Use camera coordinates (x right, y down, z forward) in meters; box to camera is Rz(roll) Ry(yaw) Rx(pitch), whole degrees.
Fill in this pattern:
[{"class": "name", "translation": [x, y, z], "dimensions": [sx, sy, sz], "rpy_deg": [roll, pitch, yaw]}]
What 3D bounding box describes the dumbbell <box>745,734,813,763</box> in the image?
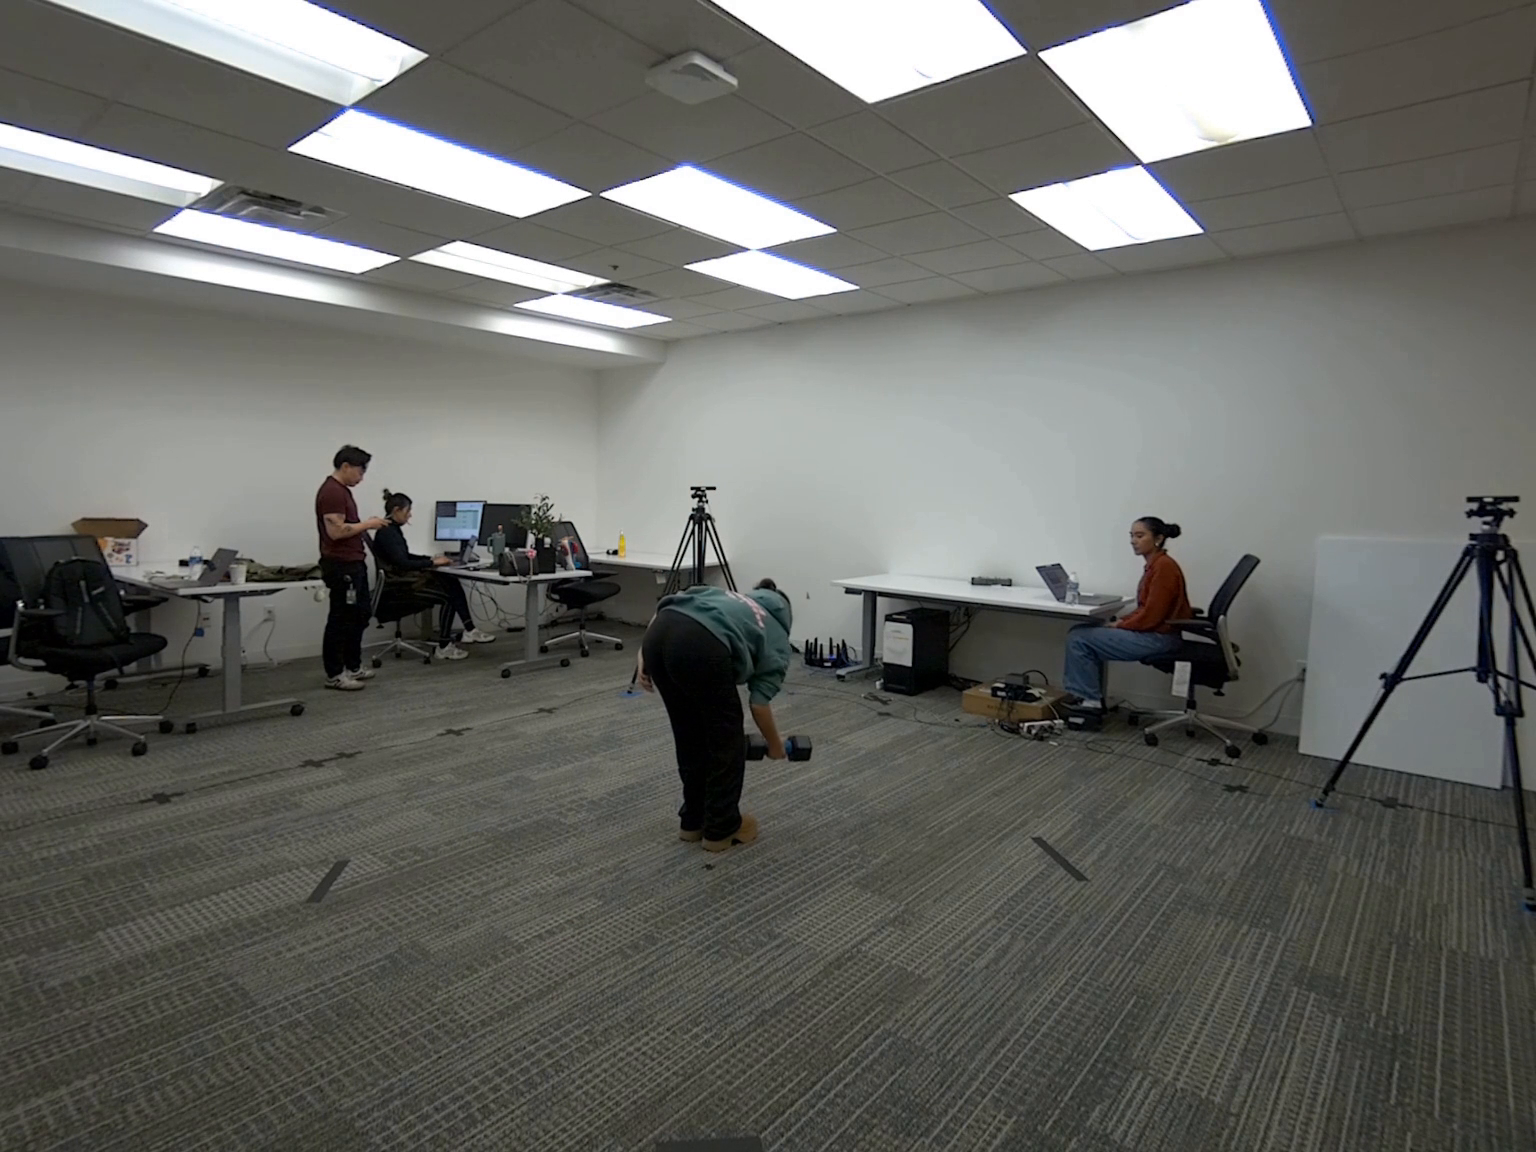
[{"class": "dumbbell", "translation": [0.025, 0.715, 3.554], "dimensions": [0.288, 0.121, 0.112], "rpy_deg": [3, 16, -19]}]
